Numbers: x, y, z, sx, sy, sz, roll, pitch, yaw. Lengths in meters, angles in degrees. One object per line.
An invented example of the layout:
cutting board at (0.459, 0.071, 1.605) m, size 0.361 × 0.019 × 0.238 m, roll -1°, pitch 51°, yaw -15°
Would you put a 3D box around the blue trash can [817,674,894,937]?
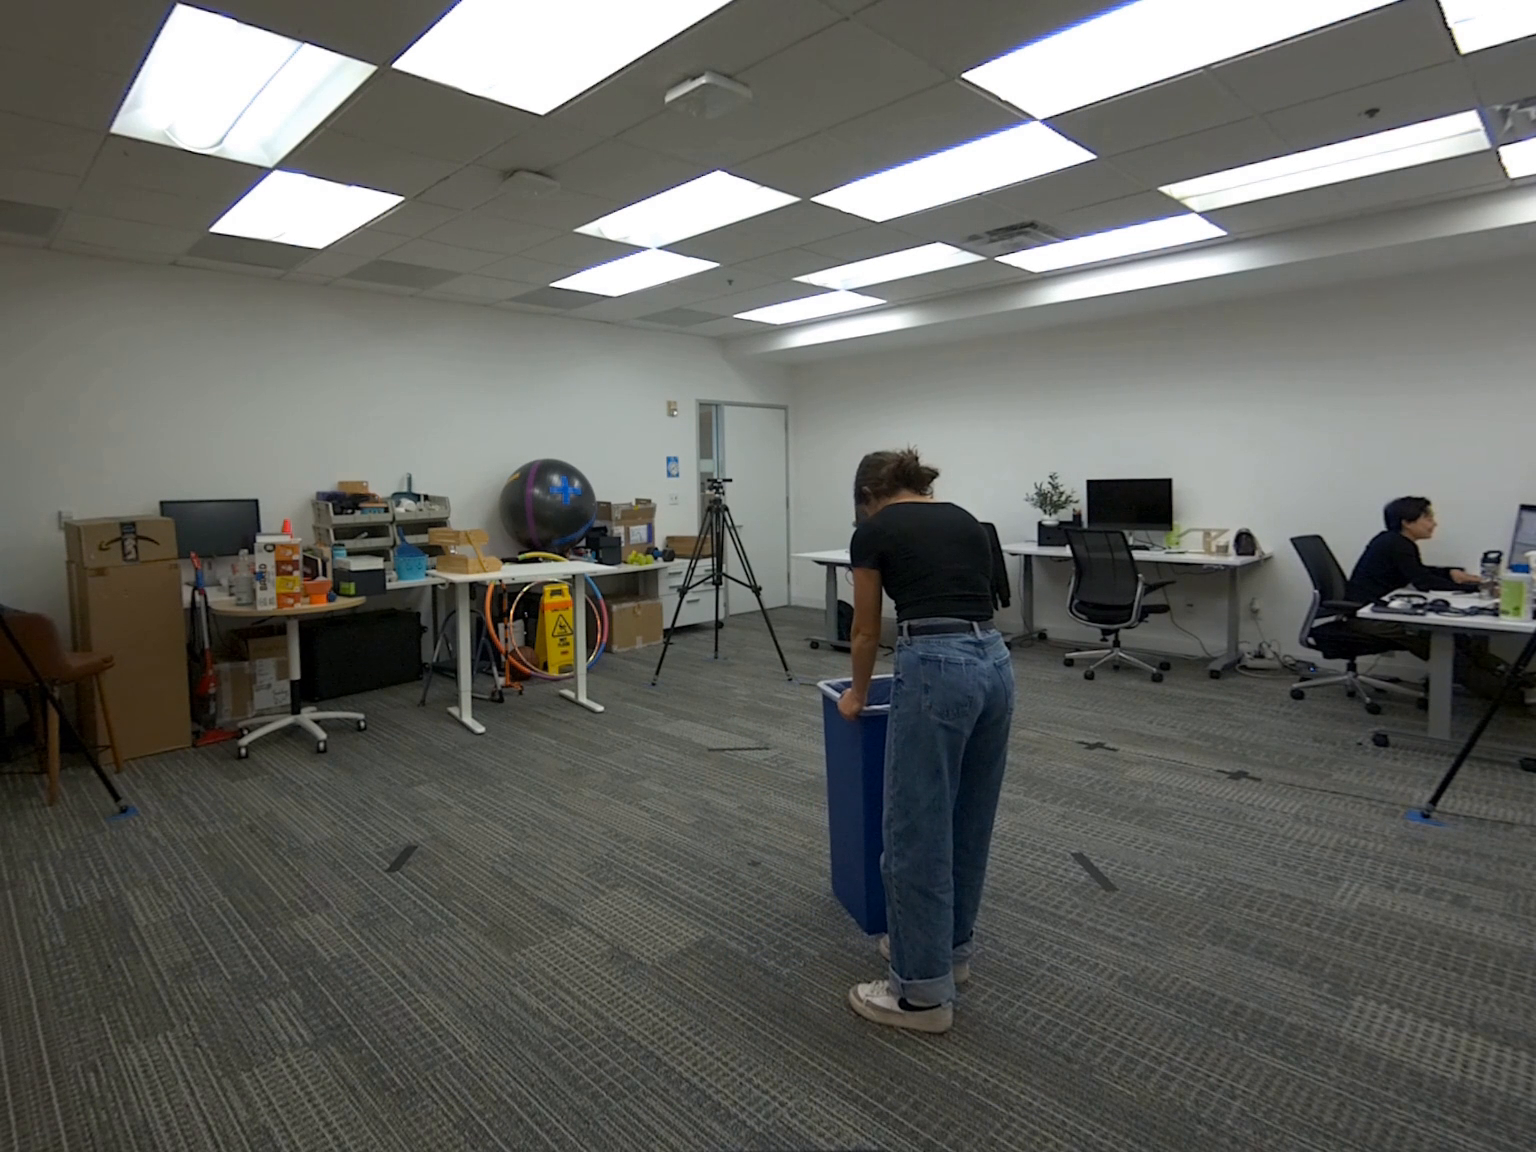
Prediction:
blue trash can at (0.392, 0.719, 2.758) m, size 0.369 × 0.711 × 0.385 m, roll -2°, pitch 4°, yaw -16°
